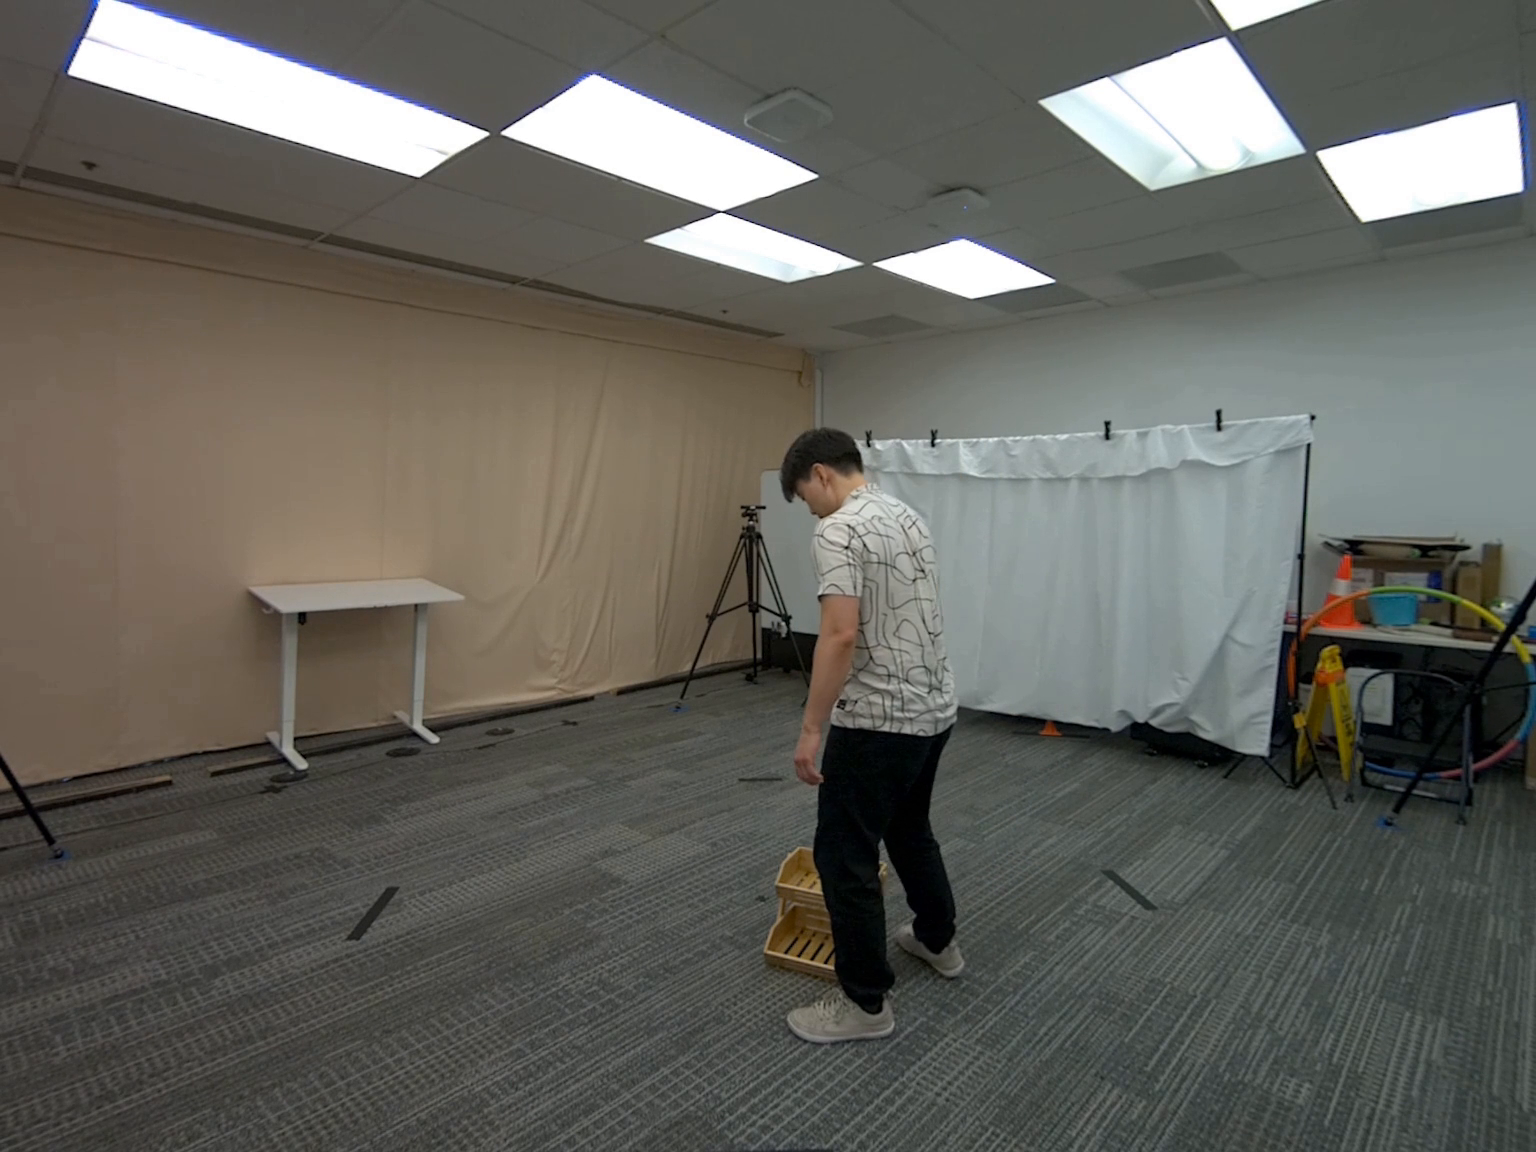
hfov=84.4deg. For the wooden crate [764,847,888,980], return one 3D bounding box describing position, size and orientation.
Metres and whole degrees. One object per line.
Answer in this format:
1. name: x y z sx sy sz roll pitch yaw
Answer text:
1. wooden crate: 0.190 1.040 2.598 0.333 0.273 0.295 2 4 25
